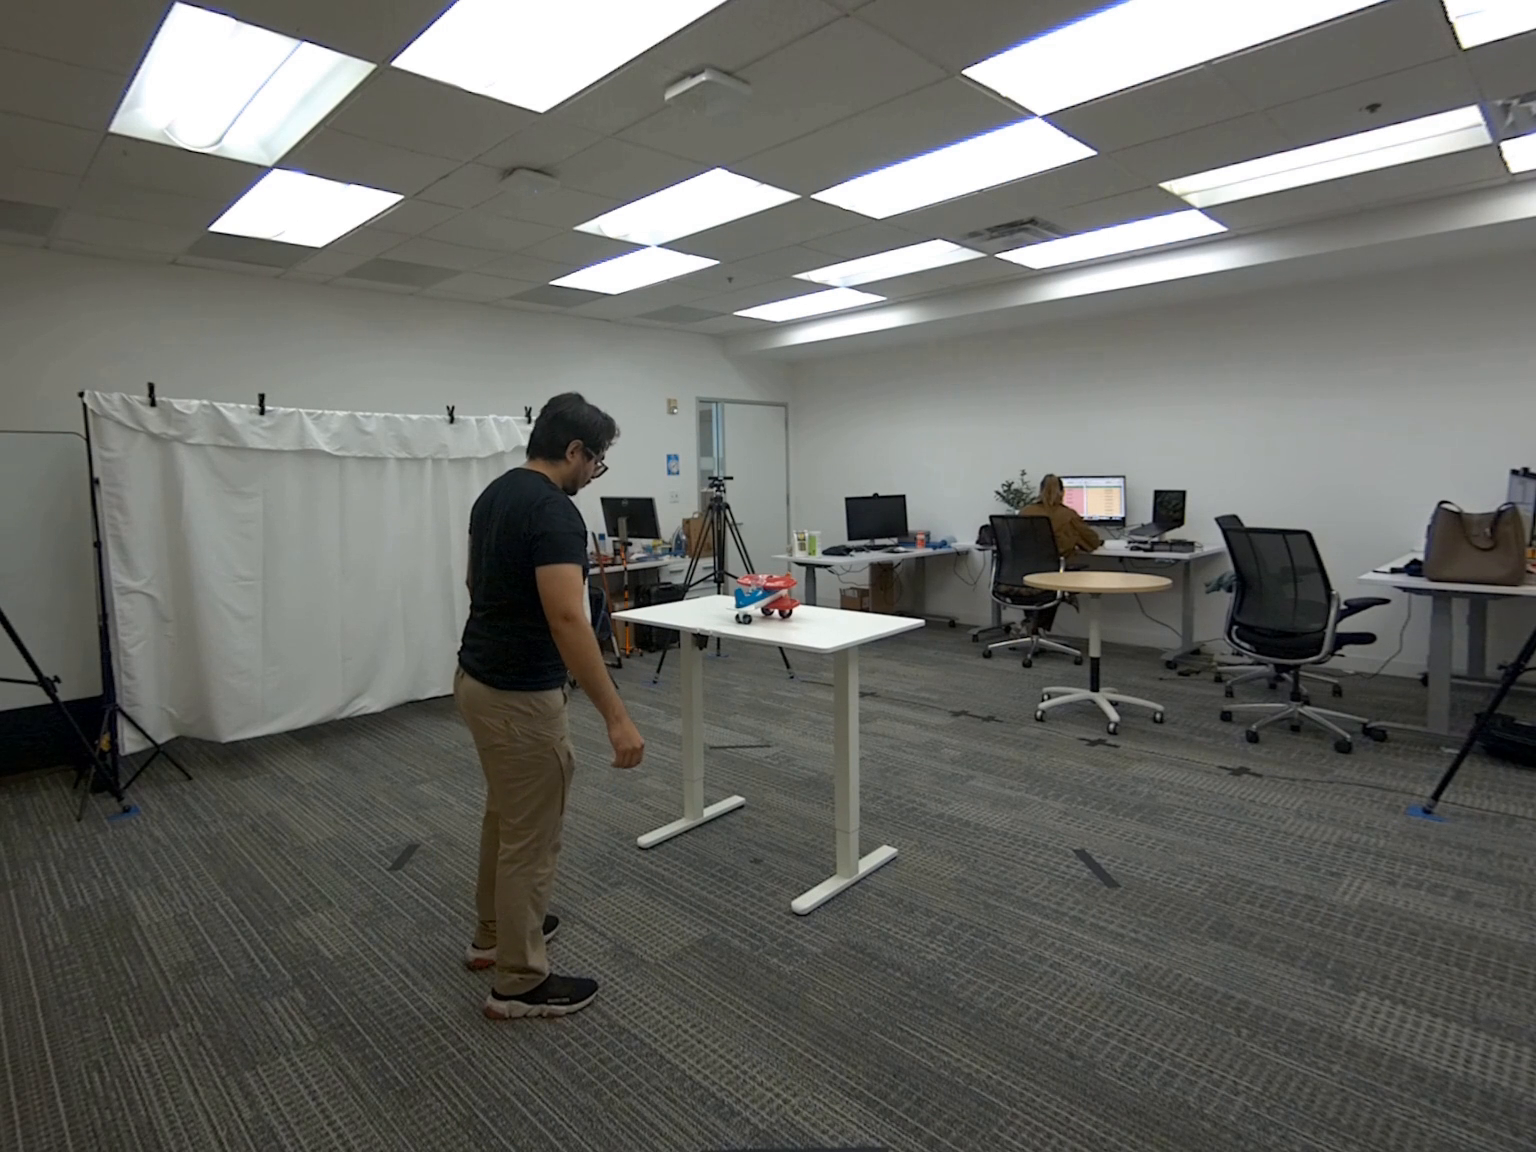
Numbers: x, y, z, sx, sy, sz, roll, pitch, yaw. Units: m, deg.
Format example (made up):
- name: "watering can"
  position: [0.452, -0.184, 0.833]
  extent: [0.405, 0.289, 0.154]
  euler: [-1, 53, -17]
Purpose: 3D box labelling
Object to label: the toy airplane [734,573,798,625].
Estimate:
- name: "toy airplane"
  position: [-0.009, 0.082, 3.047]
  extent: [0.255, 0.156, 0.256]
  euler: [1, 6, 15]
